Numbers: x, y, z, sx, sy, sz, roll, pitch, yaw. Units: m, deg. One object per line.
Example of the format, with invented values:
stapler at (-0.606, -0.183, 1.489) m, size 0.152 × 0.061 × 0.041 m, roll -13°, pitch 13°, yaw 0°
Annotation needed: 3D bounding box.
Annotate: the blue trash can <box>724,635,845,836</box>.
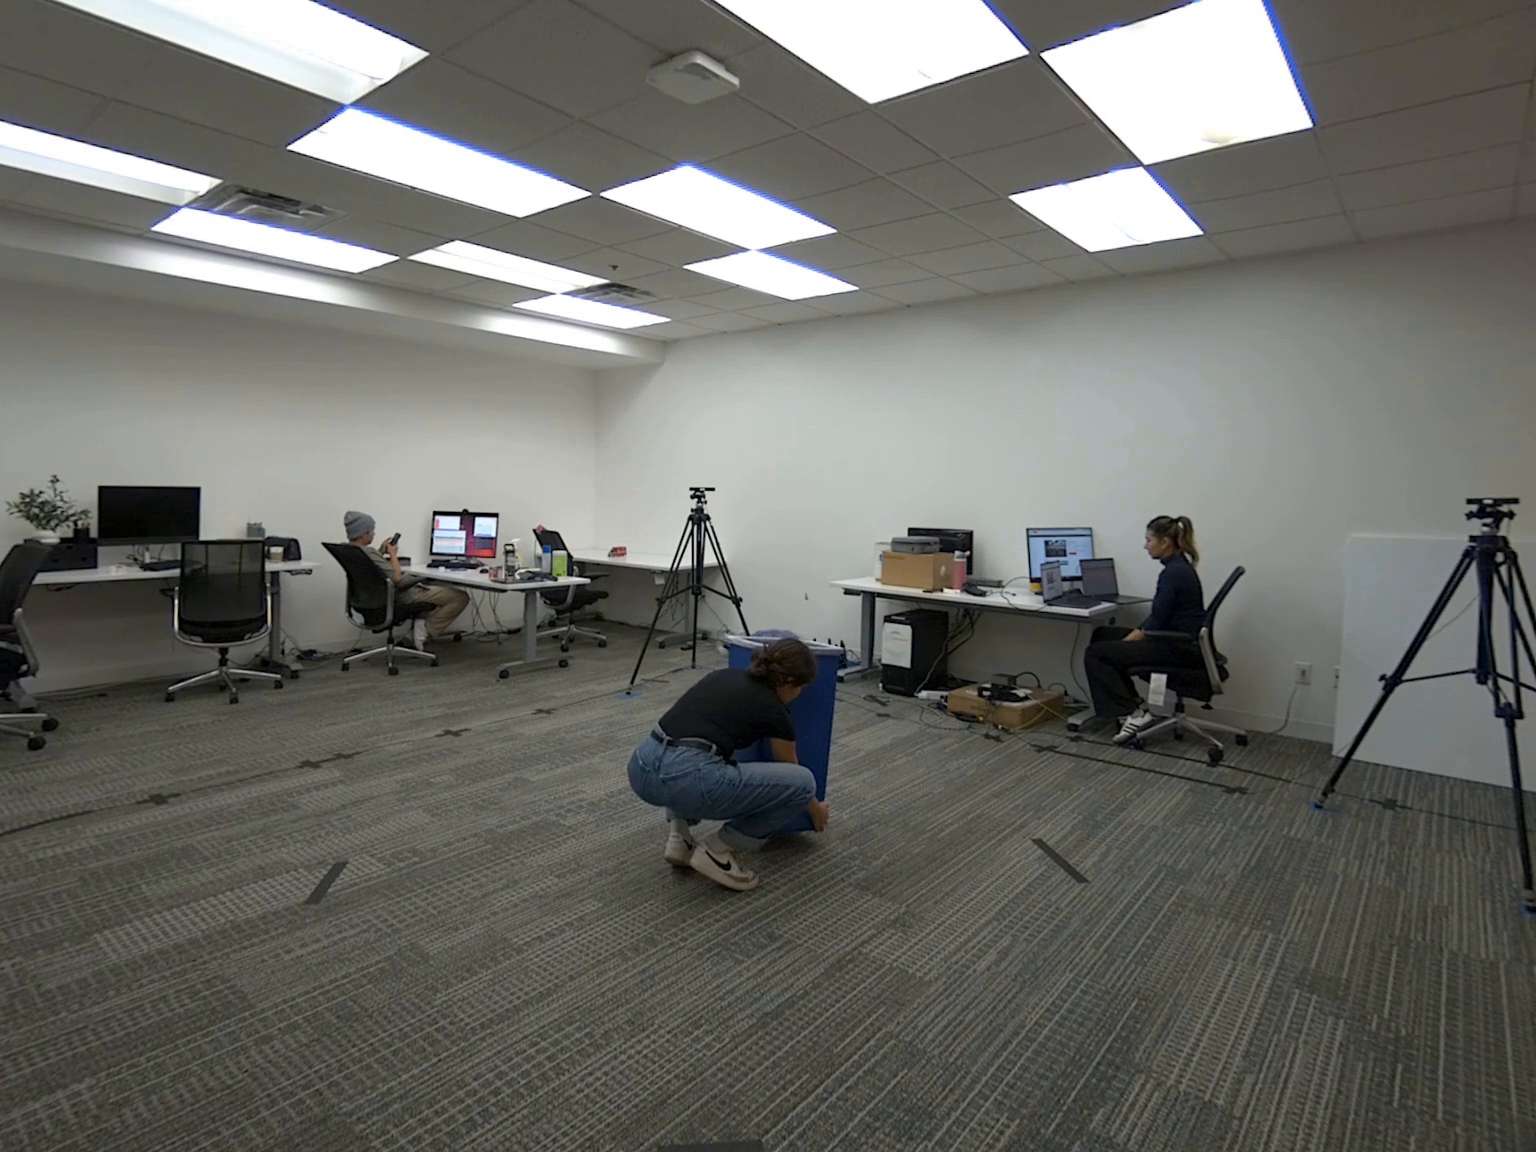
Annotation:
blue trash can at (0.034, 0.611, 3.431) m, size 0.368 × 0.715 × 0.383 m, roll 5°, pitch -2°, yaw -26°
